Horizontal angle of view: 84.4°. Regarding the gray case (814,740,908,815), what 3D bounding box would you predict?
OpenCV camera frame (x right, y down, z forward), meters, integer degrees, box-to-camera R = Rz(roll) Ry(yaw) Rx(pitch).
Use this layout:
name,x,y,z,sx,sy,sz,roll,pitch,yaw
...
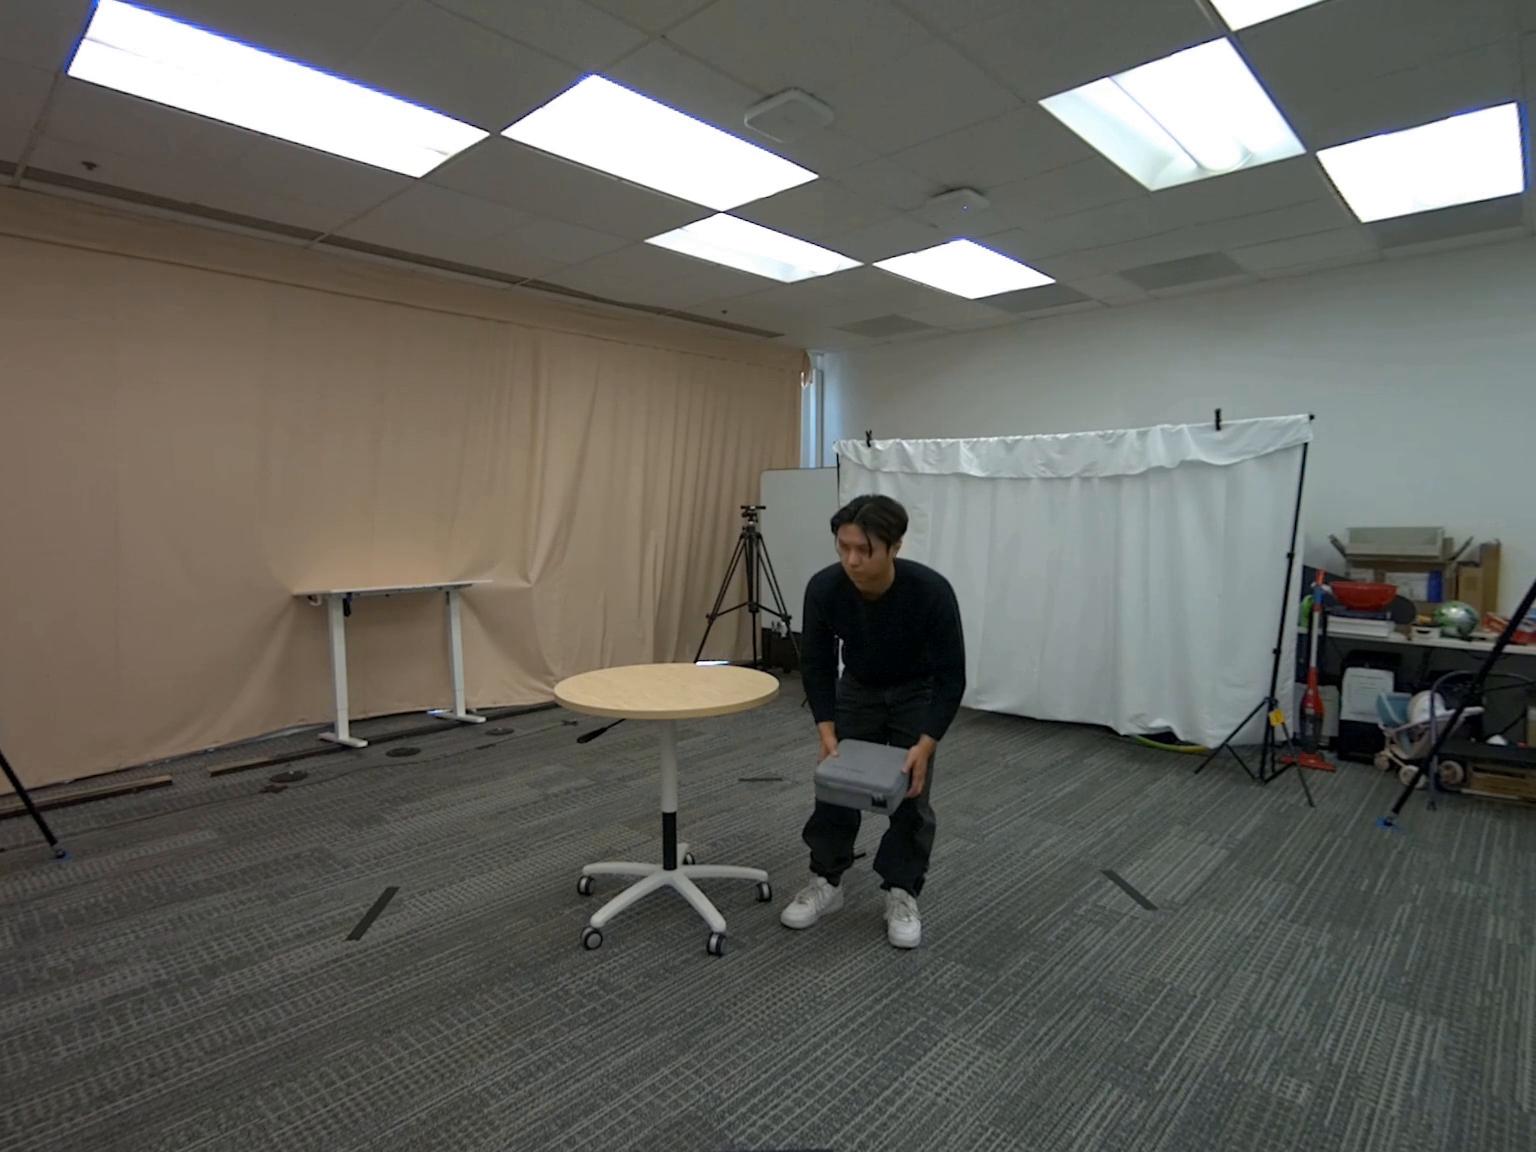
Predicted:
name,x,y,z,sx,sy,sz,roll,pitch,yaw
gray case,0.292,0.607,2.562,0.264,0.103,0.255,4,17,30
